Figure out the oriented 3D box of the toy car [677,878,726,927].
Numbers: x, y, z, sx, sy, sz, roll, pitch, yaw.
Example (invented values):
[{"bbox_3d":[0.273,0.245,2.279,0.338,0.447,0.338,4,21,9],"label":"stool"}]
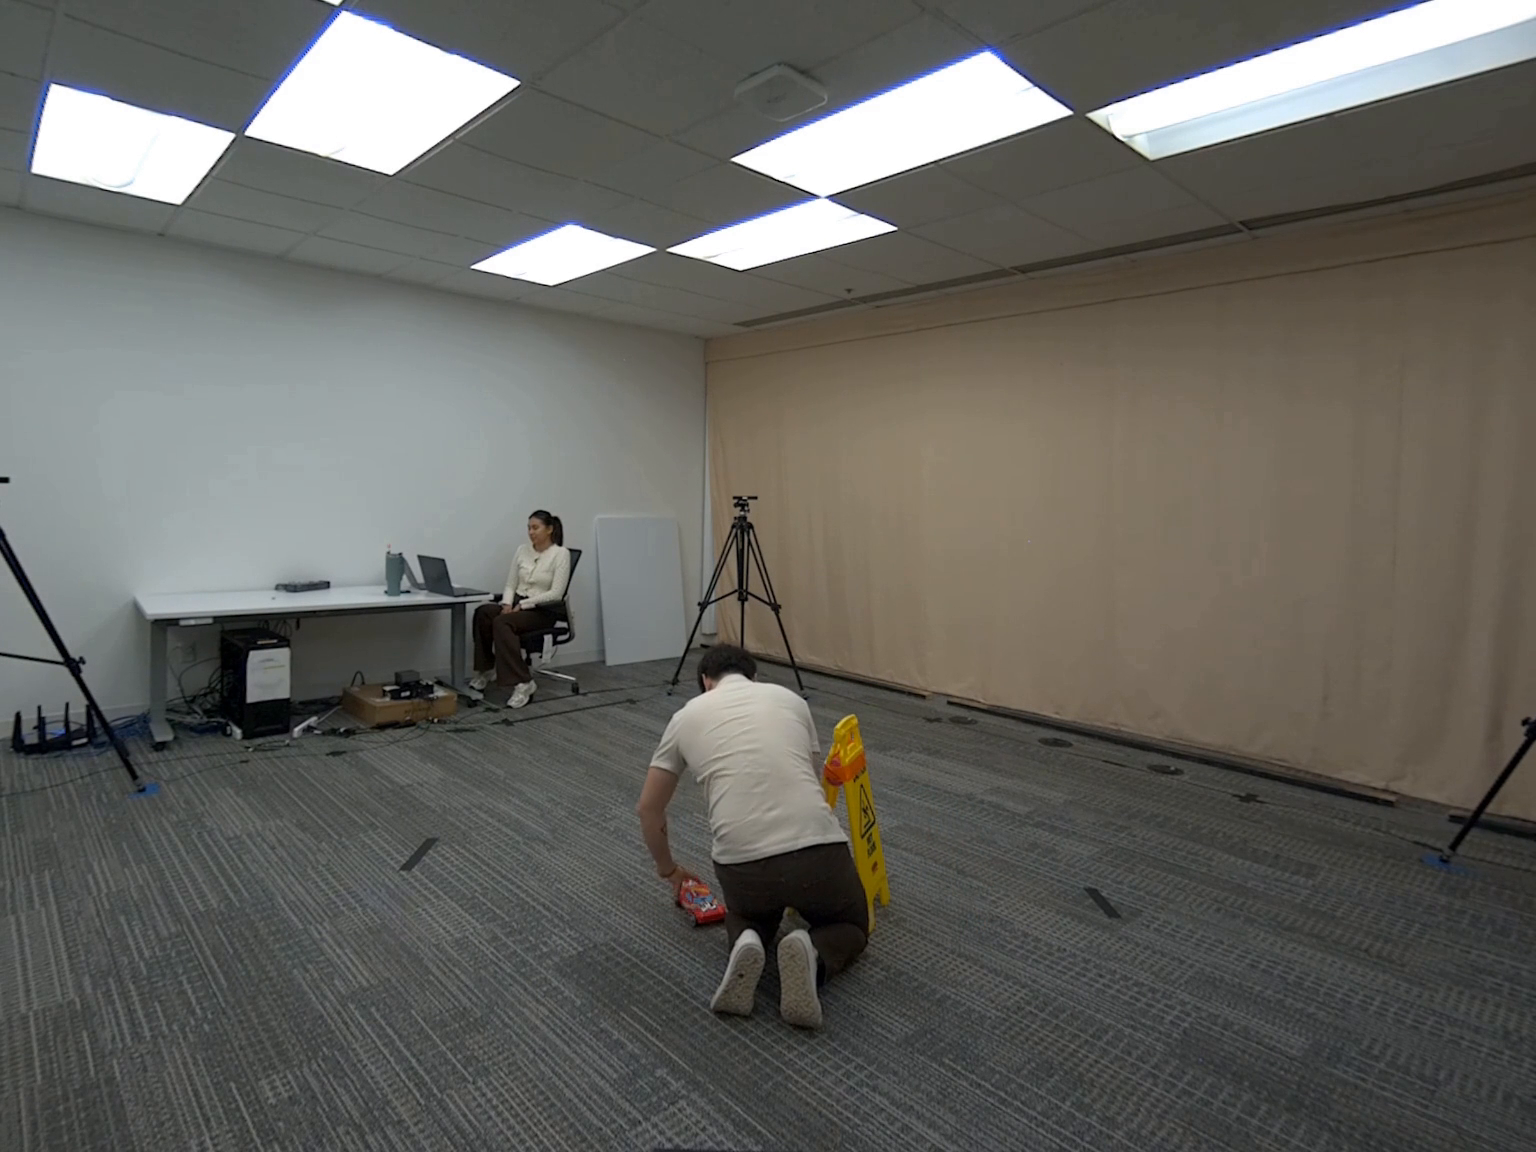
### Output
[{"bbox_3d":[-0.239,1.085,2.837,0.128,0.082,0.261,-2,16,-26],"label":"toy car"}]
